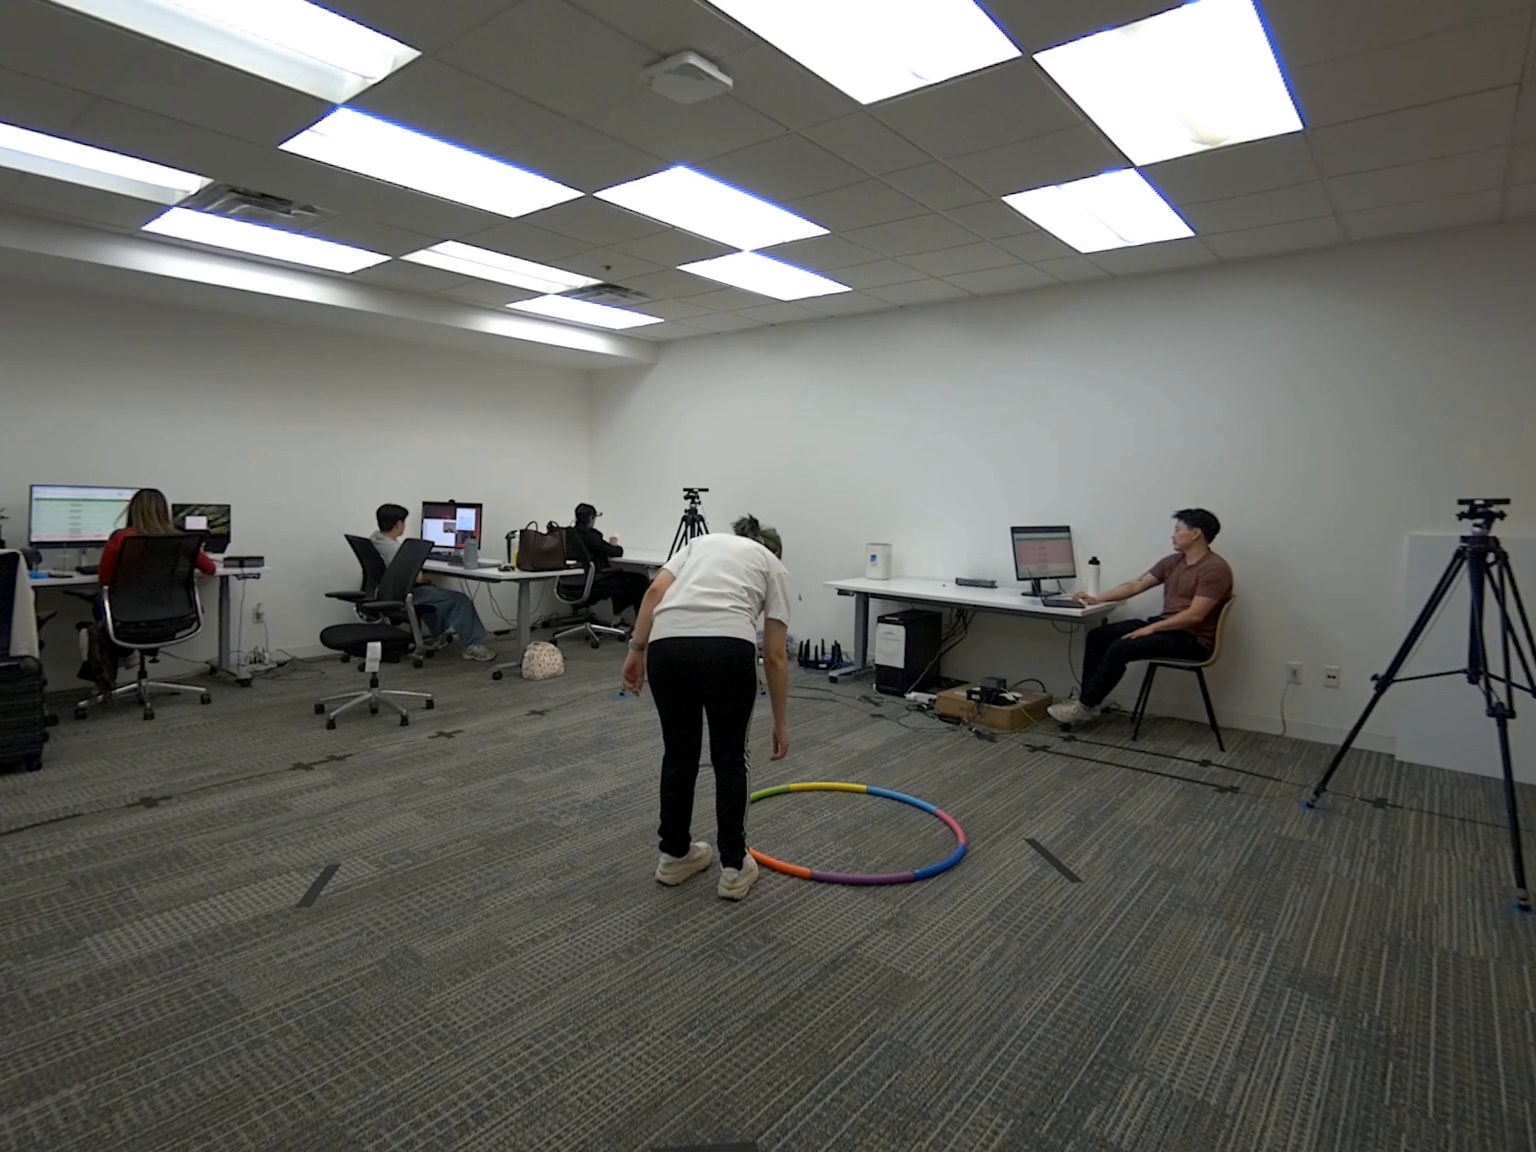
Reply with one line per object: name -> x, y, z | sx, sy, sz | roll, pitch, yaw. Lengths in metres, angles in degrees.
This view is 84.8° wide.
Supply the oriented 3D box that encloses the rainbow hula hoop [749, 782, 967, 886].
rainbow hula hoop -> 0.295, 1.012, 3.488 | 0.978, 0.035, 0.984 | 1, 6, -2
